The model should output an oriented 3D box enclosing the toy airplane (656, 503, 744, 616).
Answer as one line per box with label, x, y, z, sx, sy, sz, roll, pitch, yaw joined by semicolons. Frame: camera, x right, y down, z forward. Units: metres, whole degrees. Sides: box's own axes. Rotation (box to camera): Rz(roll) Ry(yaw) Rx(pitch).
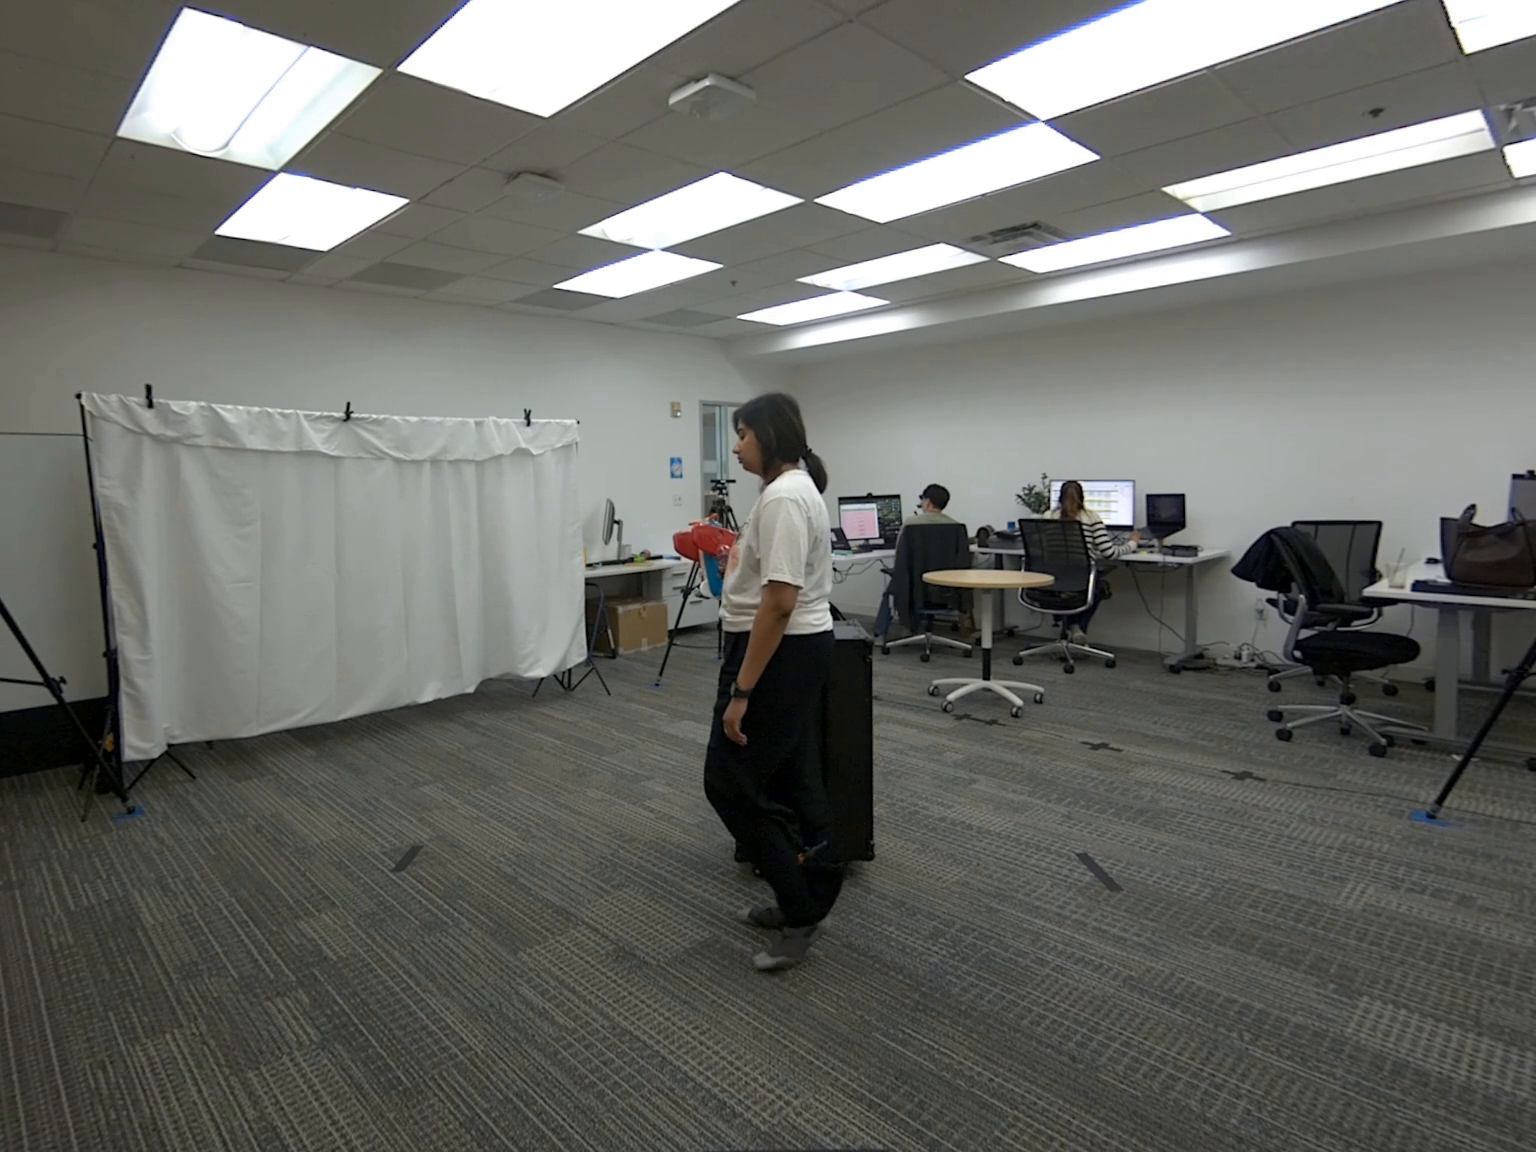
toy airplane;-0.170;-0.058;2.718;0.157;0.260;0.248;-34;-3;29
